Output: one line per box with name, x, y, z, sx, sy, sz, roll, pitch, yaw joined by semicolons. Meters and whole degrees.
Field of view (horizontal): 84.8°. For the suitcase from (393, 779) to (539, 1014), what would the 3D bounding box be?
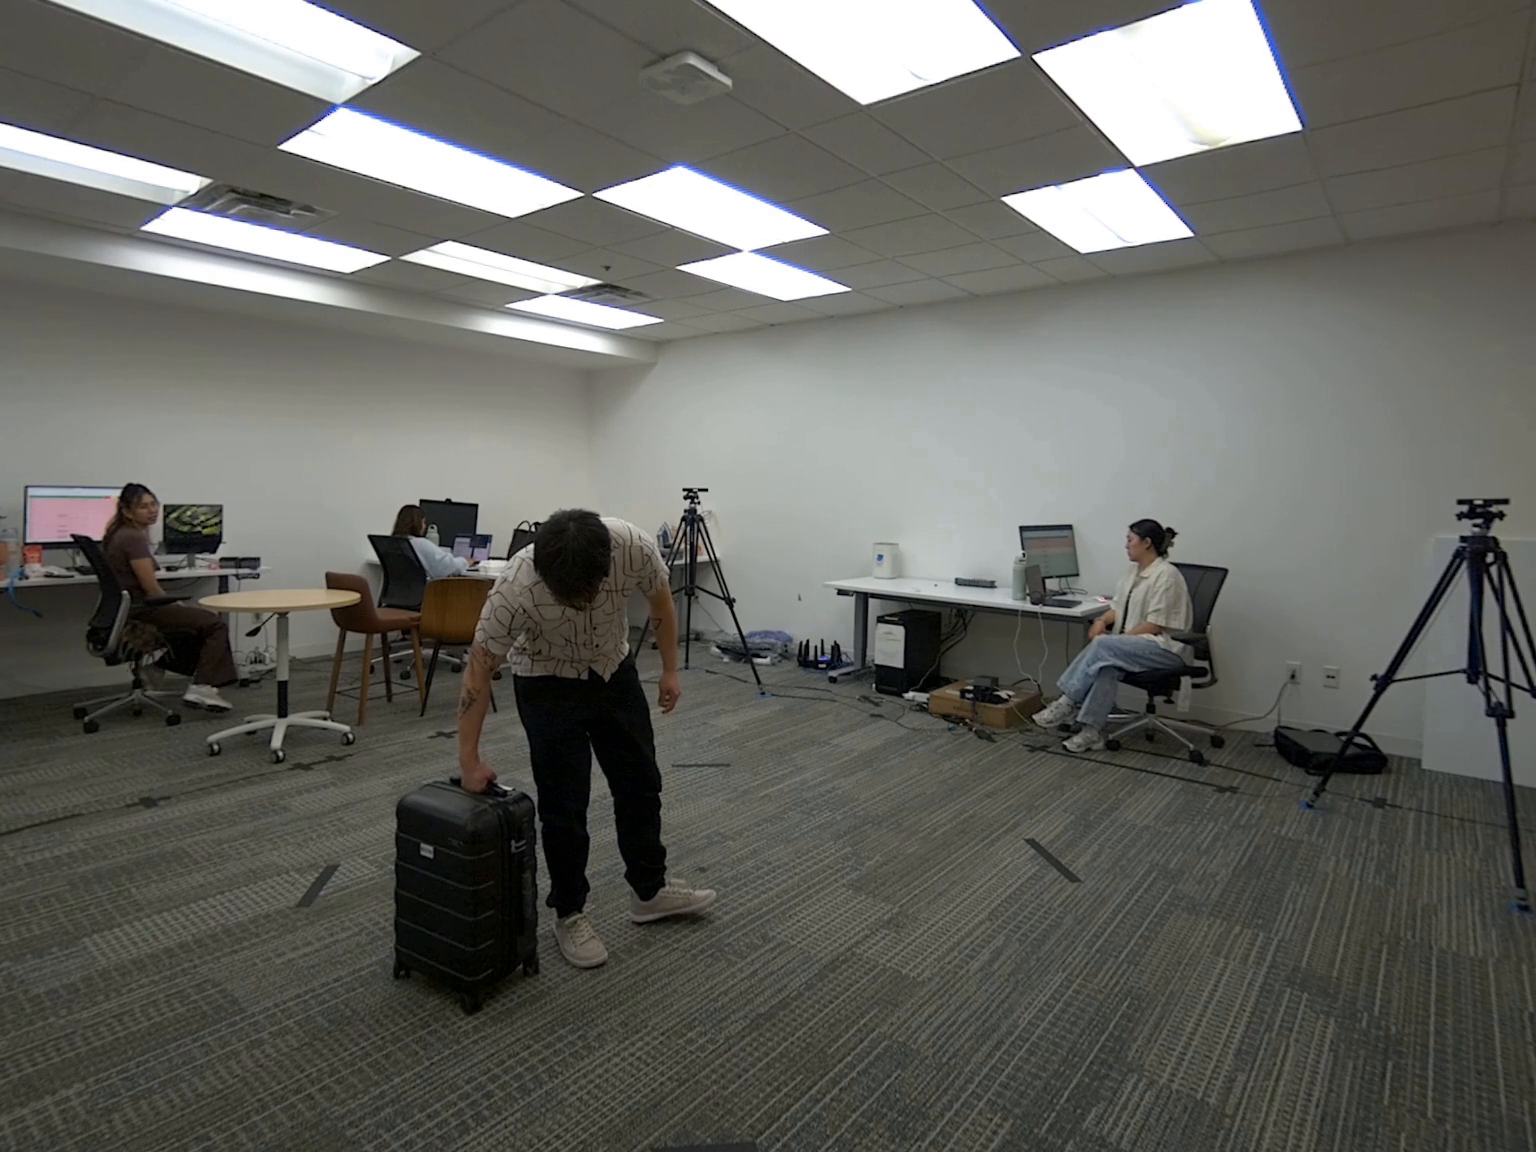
suitcase;-0.854;0.857;2.371;0.387;0.547;0.242;4;6;32
